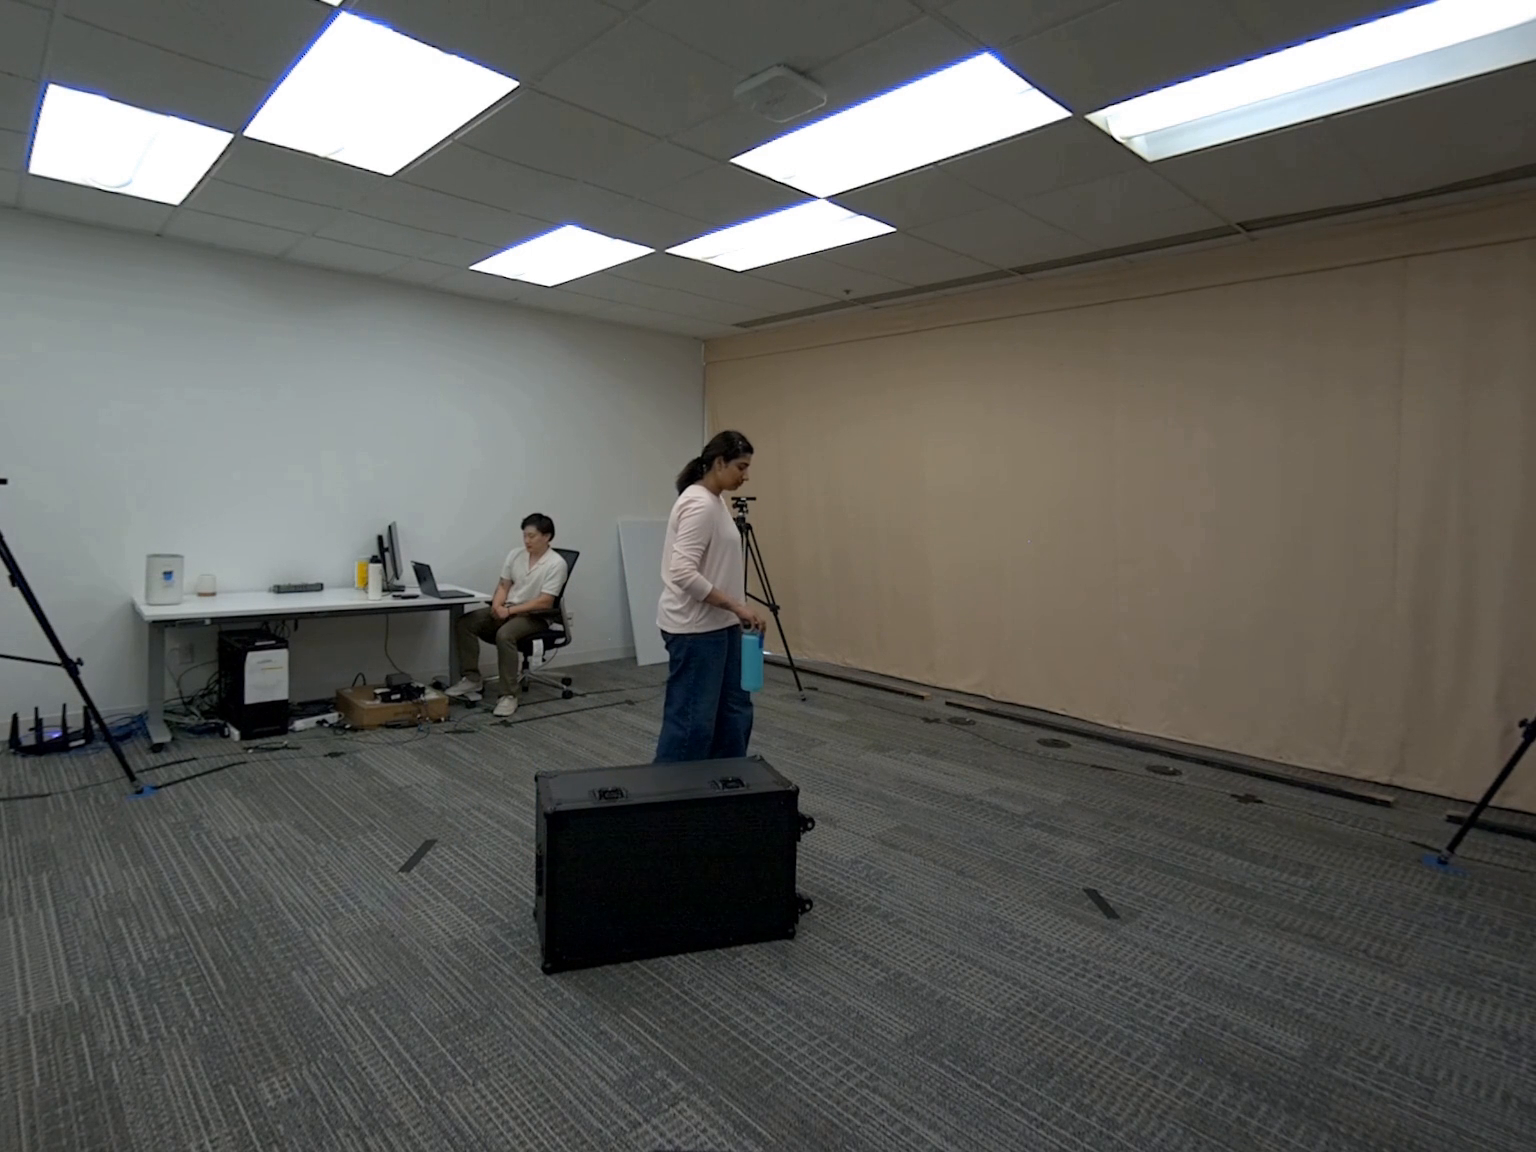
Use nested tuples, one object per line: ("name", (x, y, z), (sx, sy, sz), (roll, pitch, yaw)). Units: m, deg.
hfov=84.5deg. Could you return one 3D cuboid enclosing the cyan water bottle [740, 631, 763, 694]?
("cyan water bottle", (-0.075, 0.315, 3.419), (0.092, 0.282, 0.093), (2, 6, -2))
